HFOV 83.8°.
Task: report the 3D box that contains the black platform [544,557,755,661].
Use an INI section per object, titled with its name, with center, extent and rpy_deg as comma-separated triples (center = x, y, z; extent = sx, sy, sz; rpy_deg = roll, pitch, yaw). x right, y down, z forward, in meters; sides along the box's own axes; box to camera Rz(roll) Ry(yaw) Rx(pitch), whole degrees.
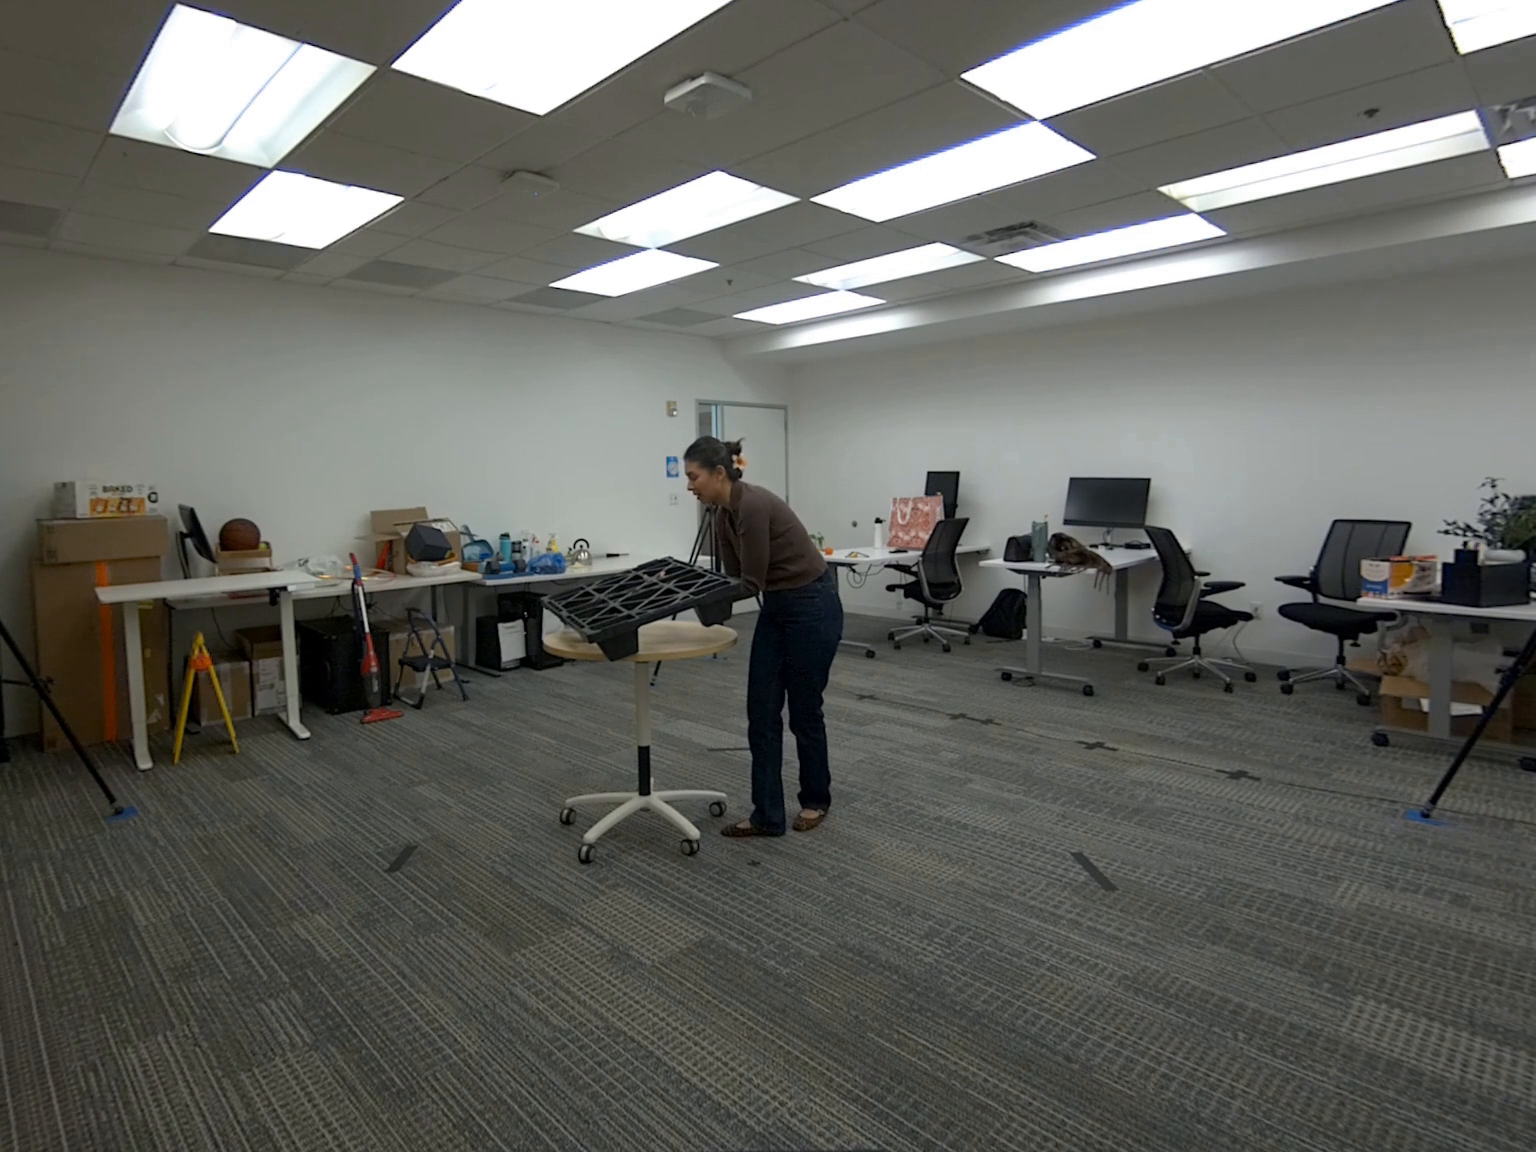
[black platform]
center = -0.513, 0.117, 3.347
extent = 0.597, 0.141, 0.827
rpy_deg = -19, 15, -22
